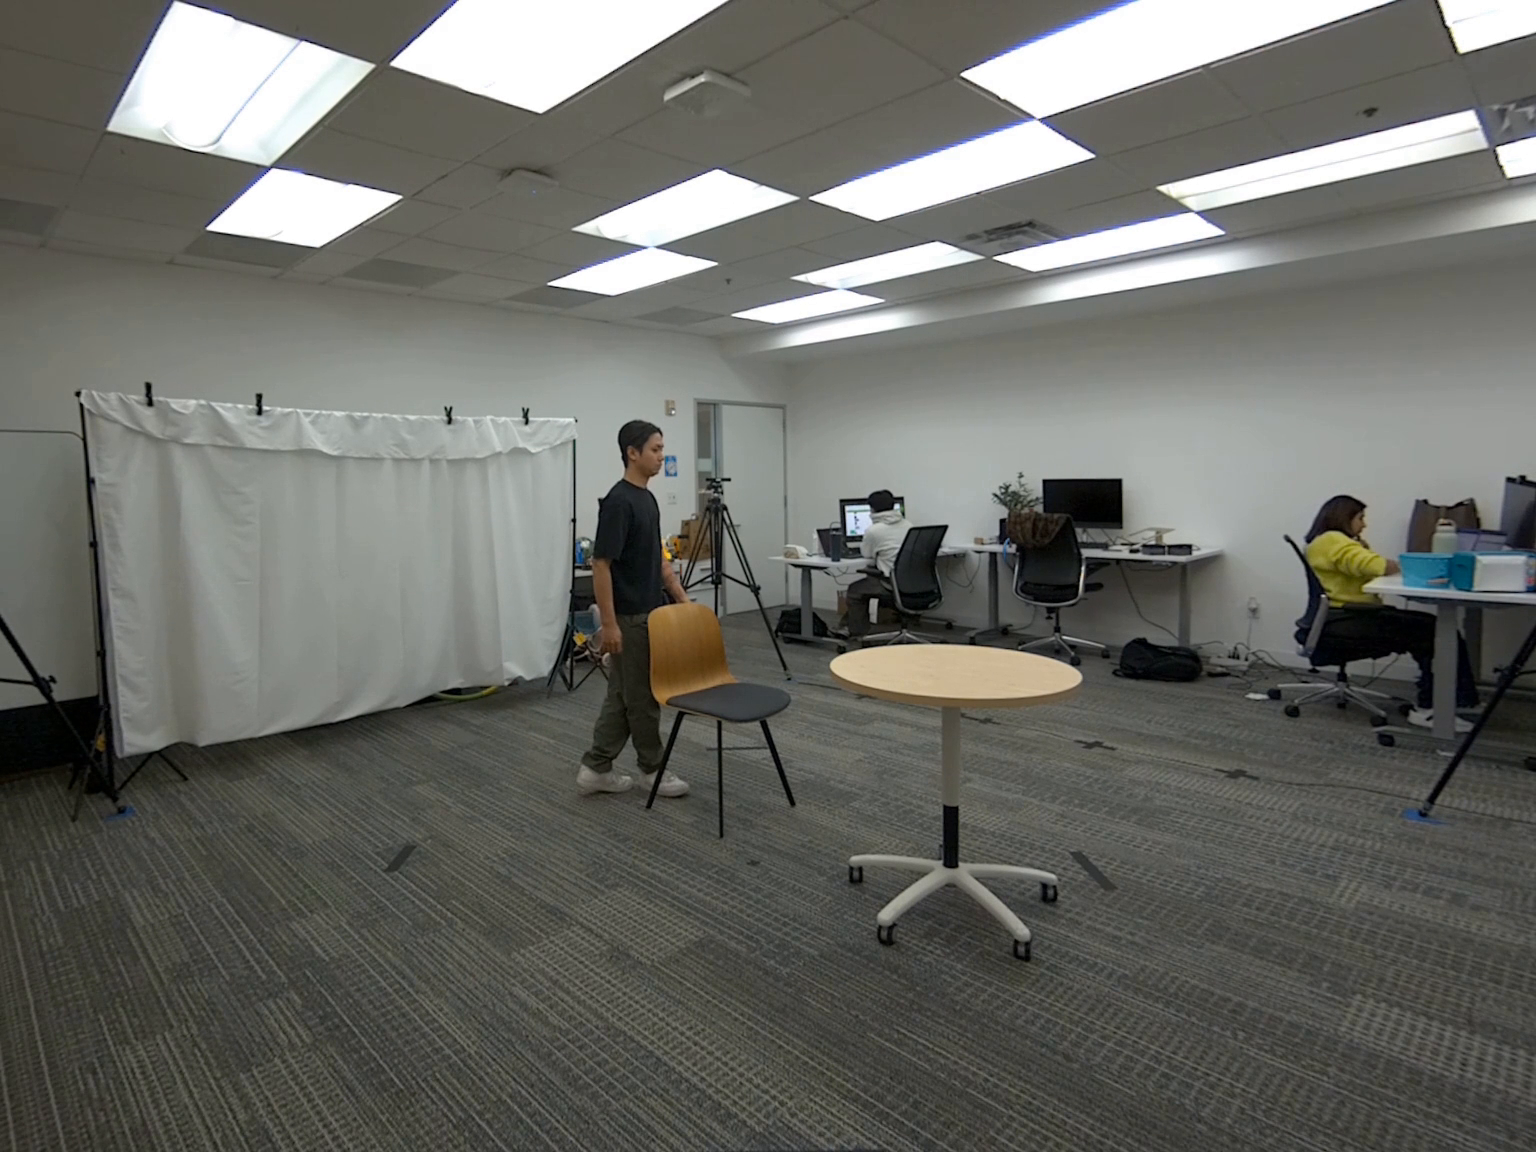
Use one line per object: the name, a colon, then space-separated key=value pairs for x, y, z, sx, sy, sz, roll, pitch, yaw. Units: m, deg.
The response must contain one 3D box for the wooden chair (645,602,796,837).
wooden chair: x=-0.199 y=0.562 z=3.596 sx=0.537 sy=0.877 sz=0.465 roll=-3 pitch=1 yaw=43
